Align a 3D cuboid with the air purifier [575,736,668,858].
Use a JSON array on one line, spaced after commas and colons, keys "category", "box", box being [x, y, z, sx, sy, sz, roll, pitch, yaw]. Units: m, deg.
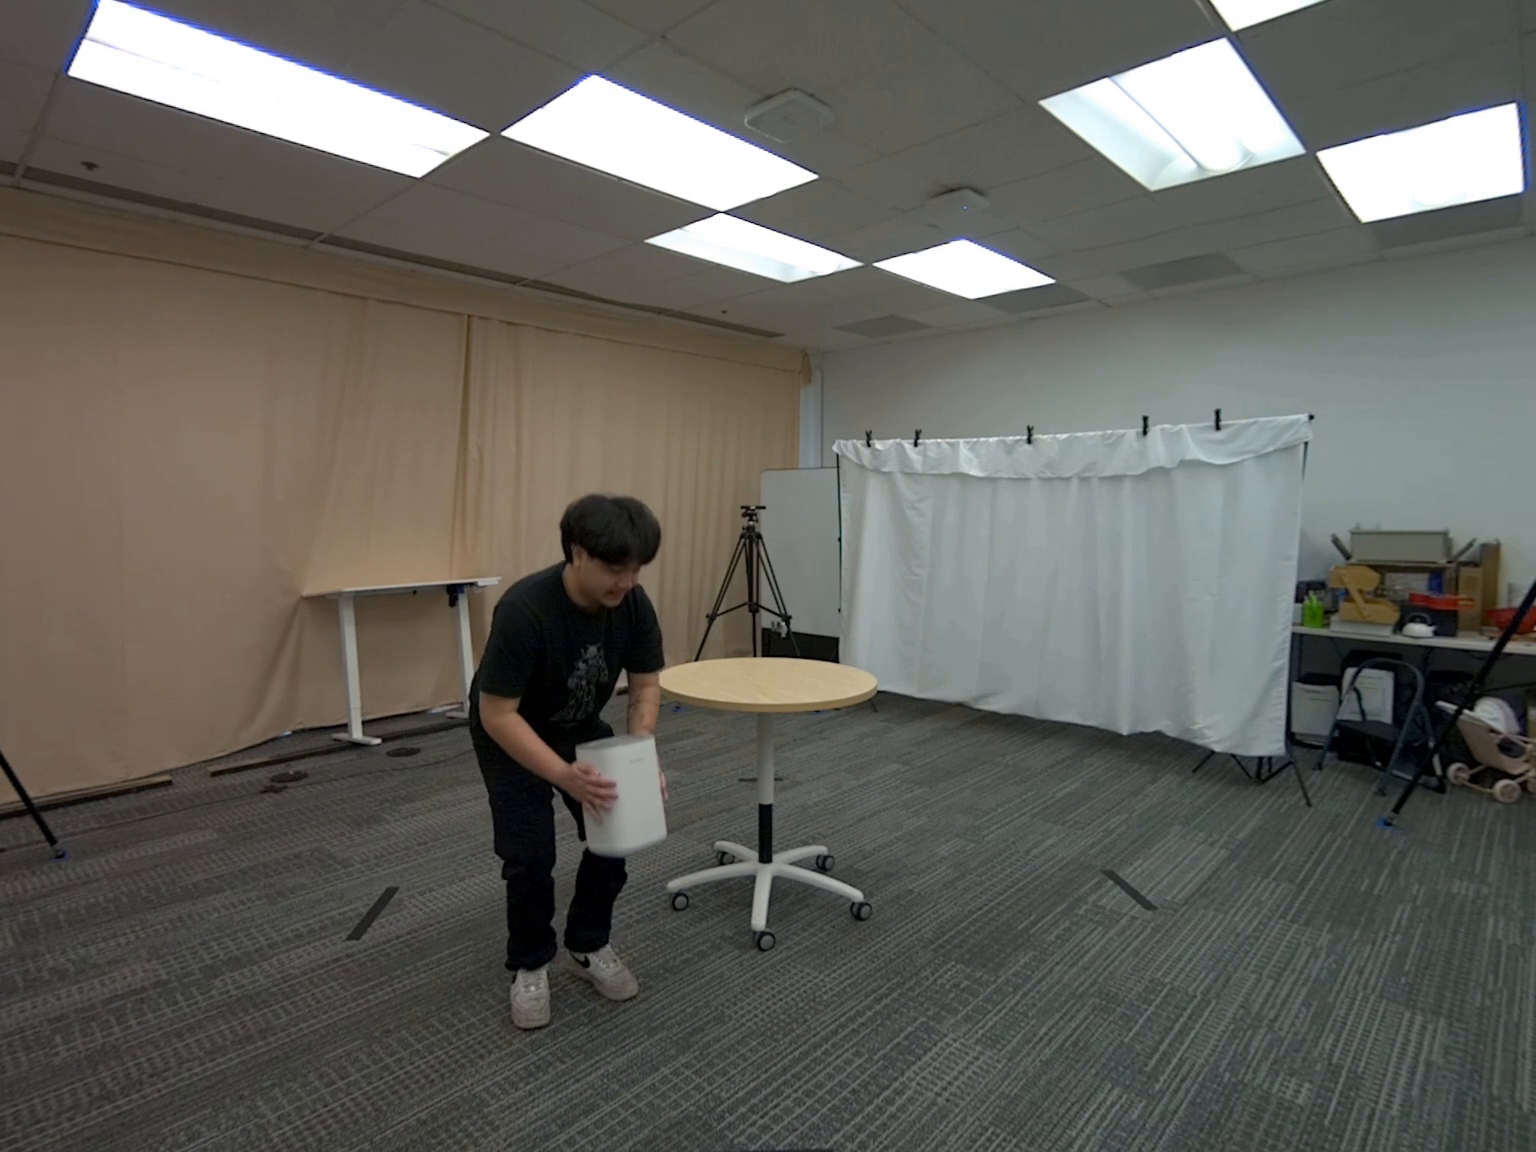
[{"category": "air purifier", "box": [-0.371, 0.549, 2.086, 0.166, 0.266, 0.176, -4, -6, -45]}]
